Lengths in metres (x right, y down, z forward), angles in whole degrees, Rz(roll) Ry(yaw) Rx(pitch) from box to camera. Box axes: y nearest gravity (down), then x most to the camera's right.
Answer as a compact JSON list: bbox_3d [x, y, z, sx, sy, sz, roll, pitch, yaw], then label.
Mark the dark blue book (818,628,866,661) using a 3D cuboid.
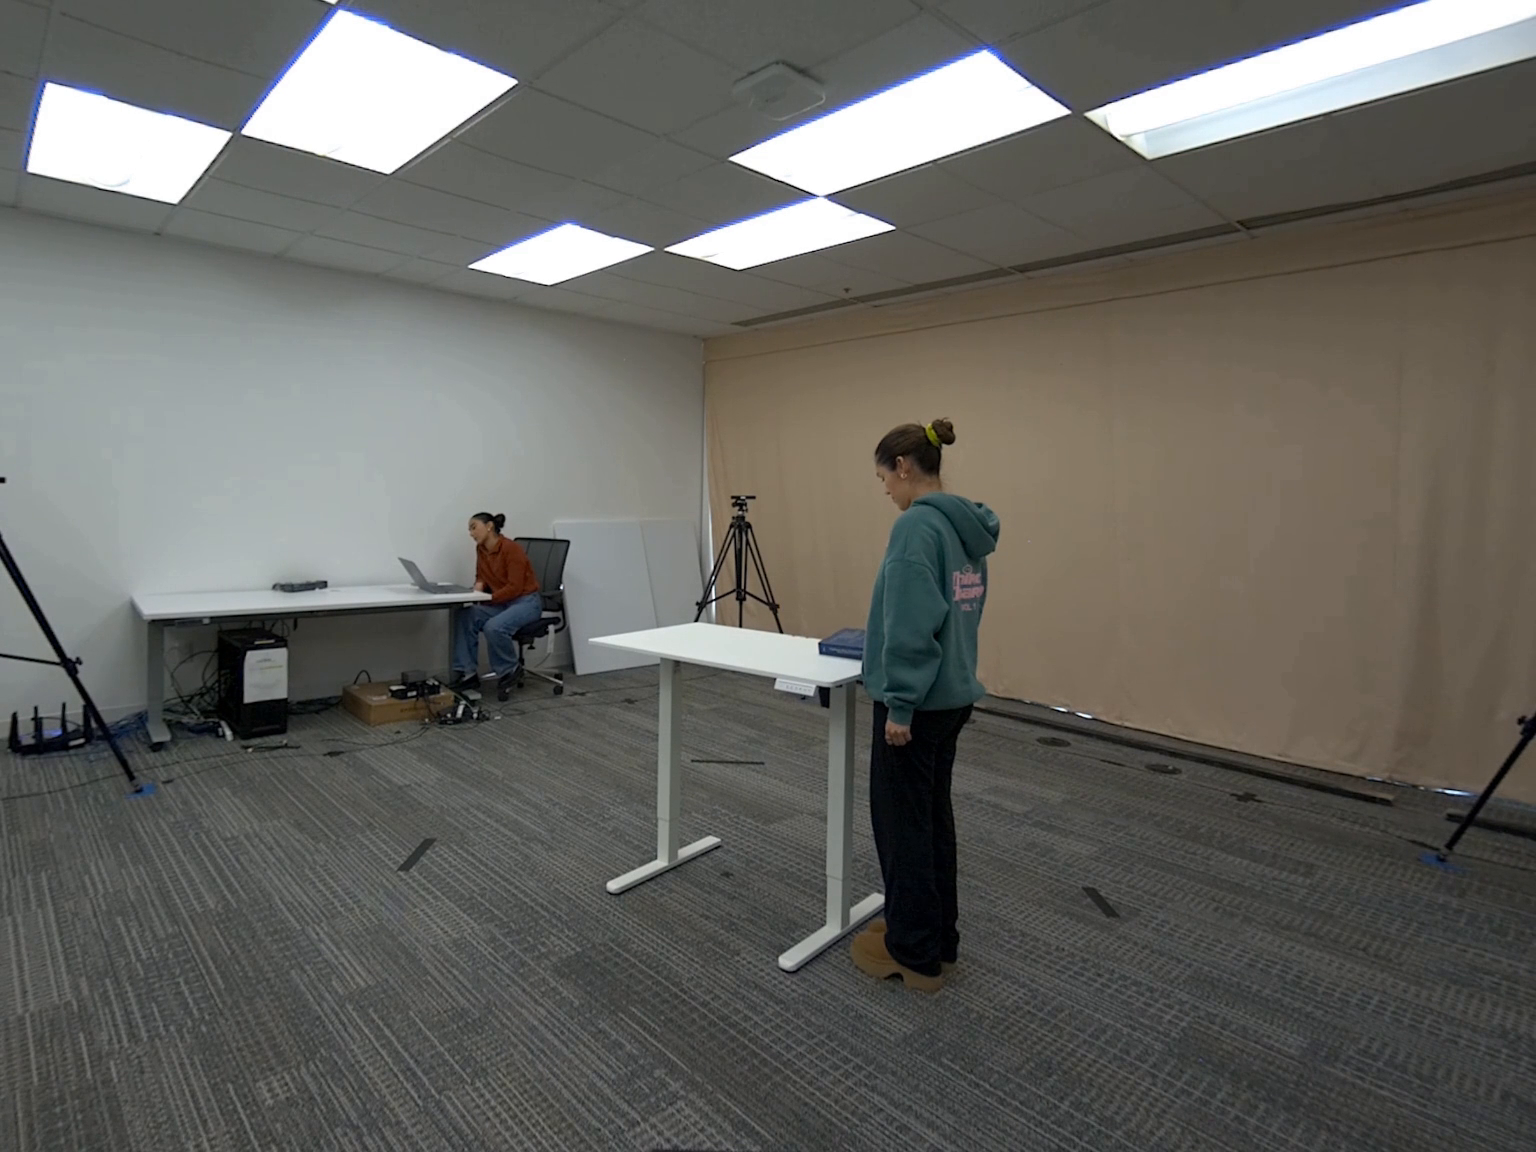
[{"bbox_3d":[0.305,0.229,2.731,0.251,0.045,0.161,4,16,41],"label":"dark blue book"}]
